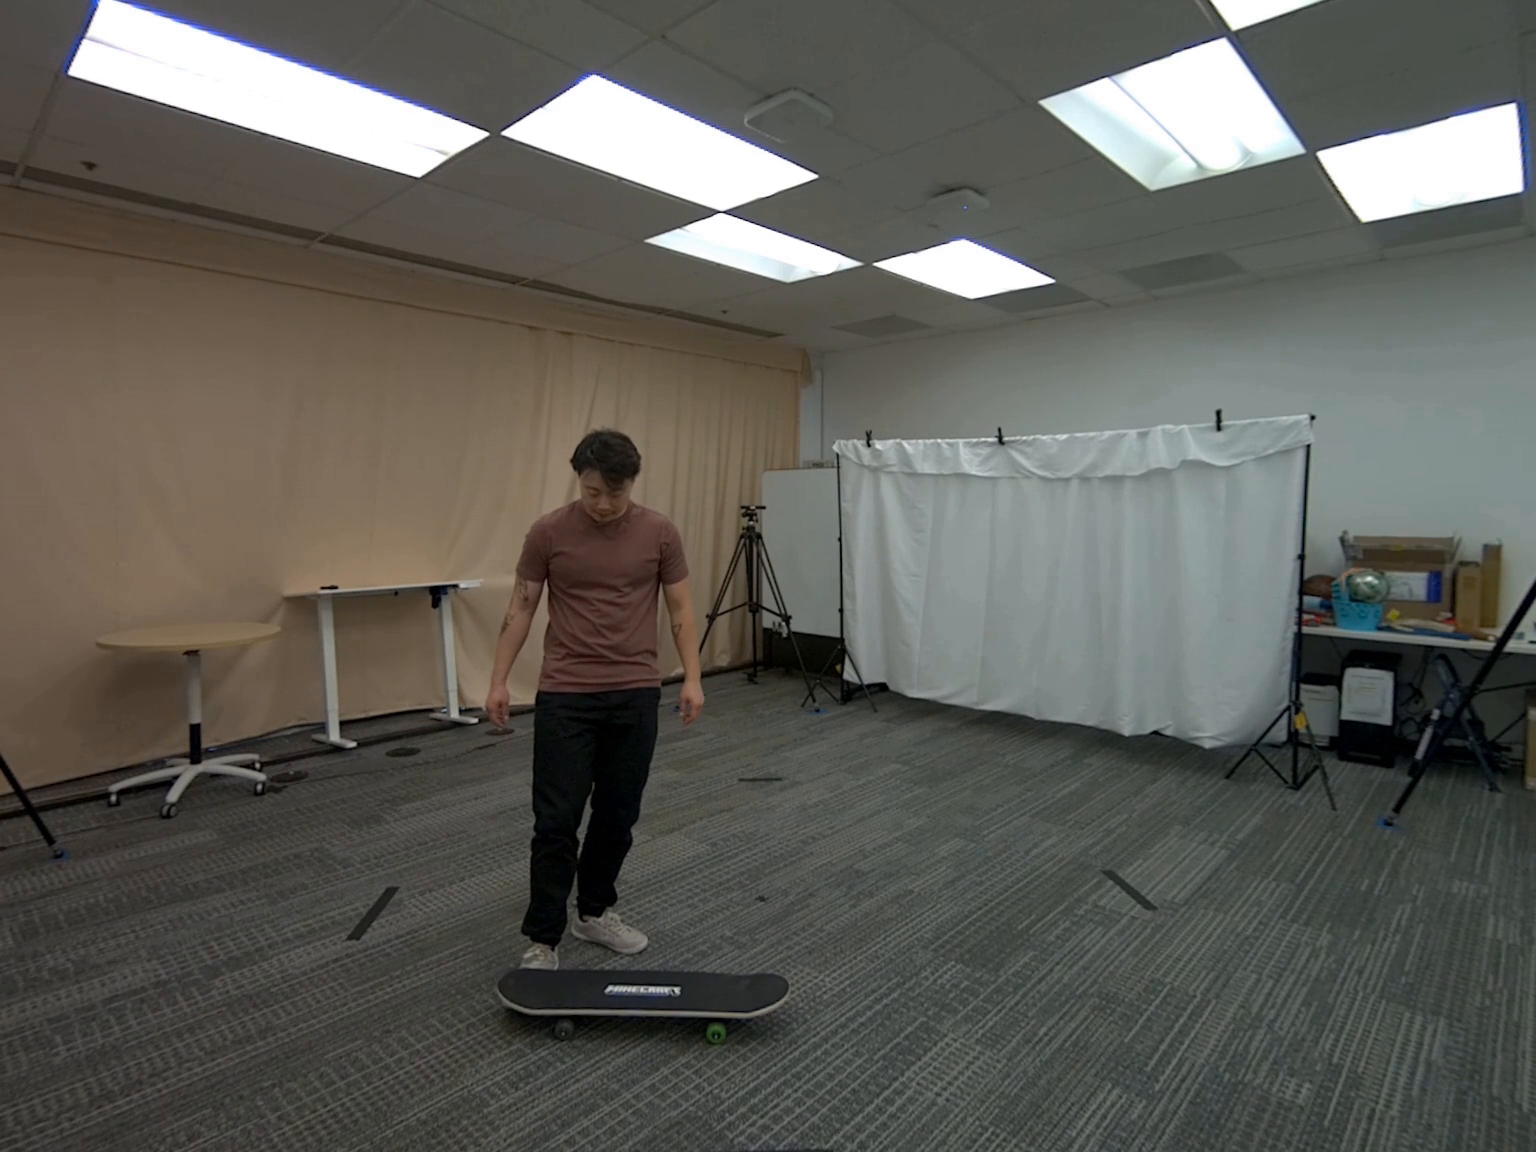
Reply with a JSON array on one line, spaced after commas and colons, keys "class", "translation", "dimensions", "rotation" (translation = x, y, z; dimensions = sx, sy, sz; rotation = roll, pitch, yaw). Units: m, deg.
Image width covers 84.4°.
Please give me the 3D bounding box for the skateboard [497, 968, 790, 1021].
[{"class": "skateboard", "translation": [-0.329, 1.151, 2.262], "dimensions": [0.788, 0.110, 0.193], "rotation": [-1, 3, 2]}]
